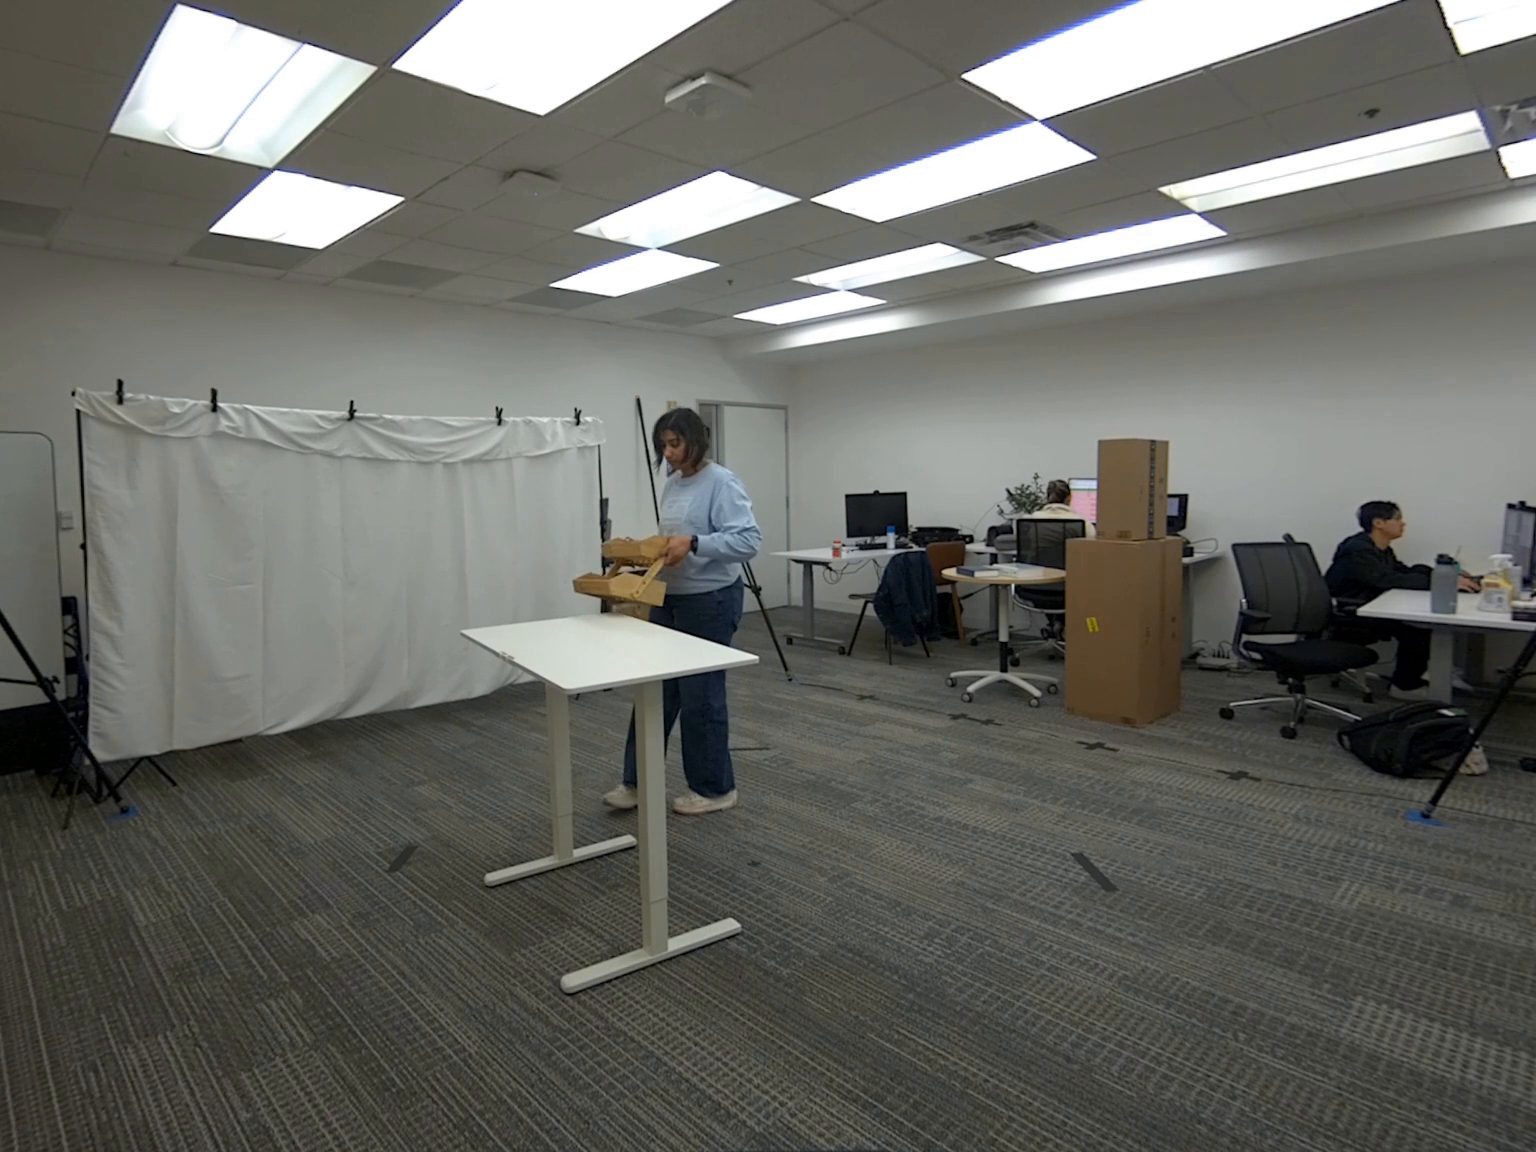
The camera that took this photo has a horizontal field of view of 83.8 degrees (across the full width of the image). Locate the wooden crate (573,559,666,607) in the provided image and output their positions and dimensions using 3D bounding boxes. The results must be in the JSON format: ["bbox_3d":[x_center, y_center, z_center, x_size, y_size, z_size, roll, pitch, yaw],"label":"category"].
[{"bbox_3d":[-0.556,-0.037,3.389,0.292,0.275,0.333,18,-11,-37],"label":"wooden crate"}]
